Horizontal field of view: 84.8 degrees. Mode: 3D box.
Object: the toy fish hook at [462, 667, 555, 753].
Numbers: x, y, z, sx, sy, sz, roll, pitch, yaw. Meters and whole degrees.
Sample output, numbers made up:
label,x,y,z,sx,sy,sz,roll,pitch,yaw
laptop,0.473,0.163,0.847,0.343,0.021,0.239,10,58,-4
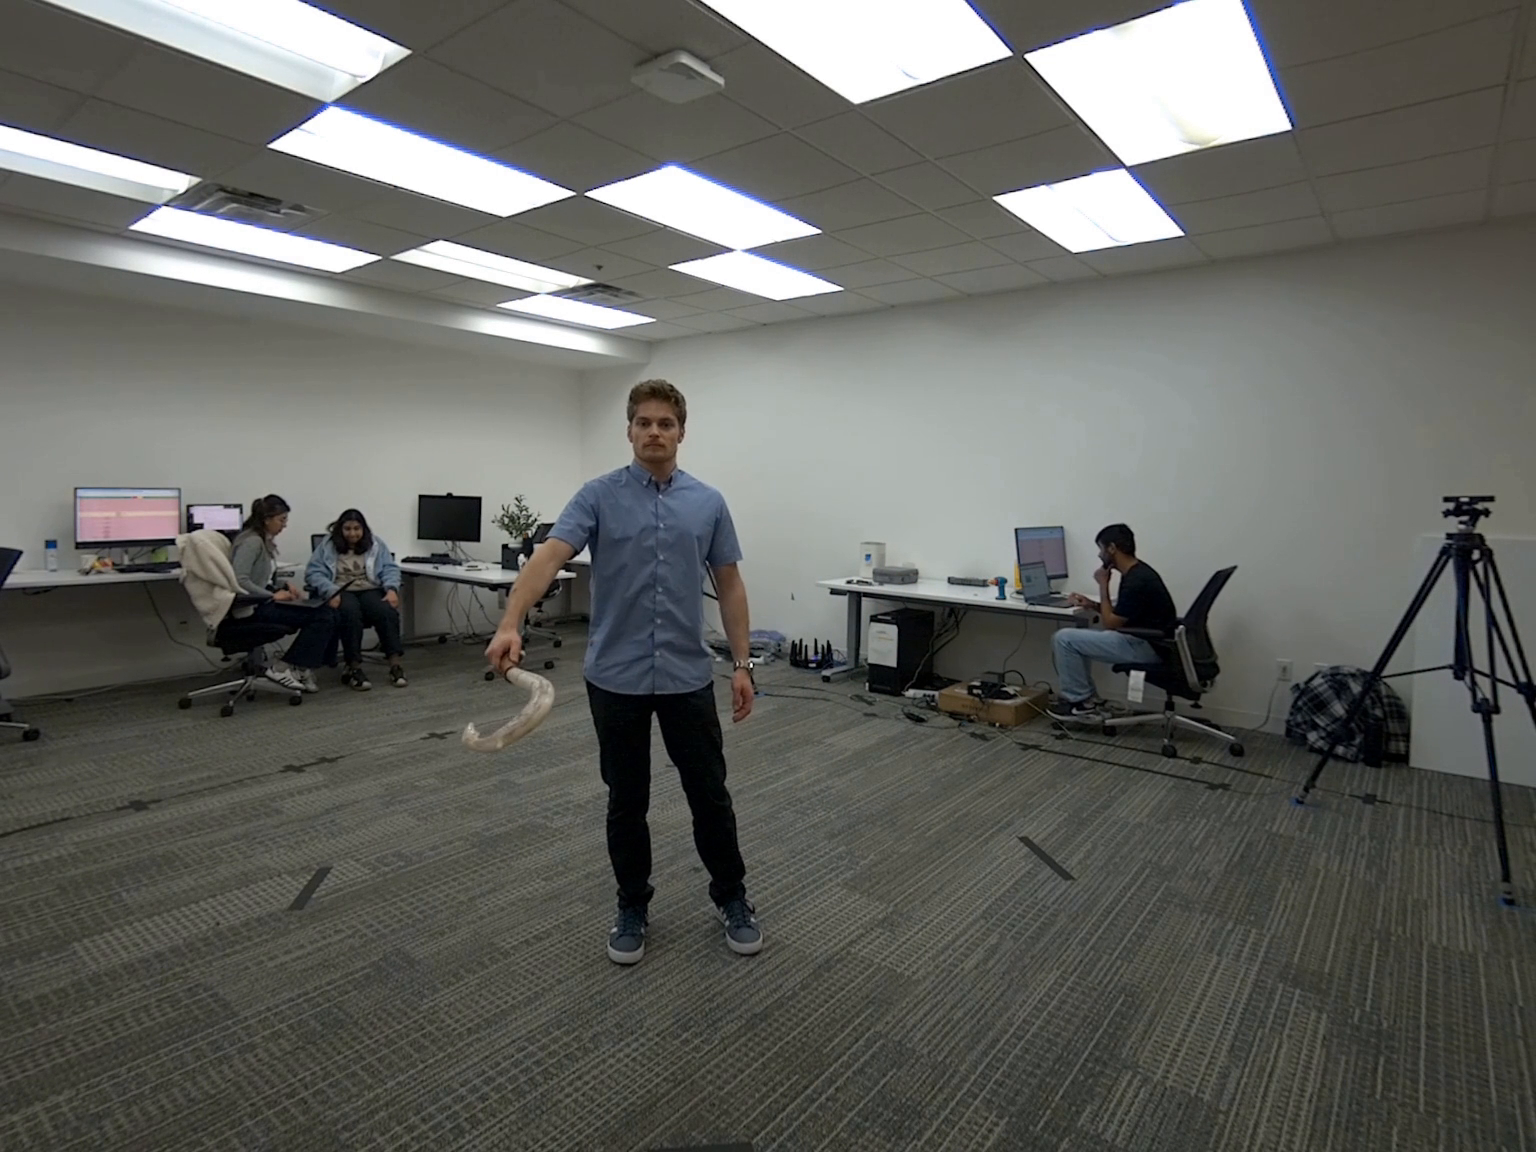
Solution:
label,x,y,z,sx,sy,sz,roll,pitch,yaw
toy fish hook,-0.612,0.253,1.966,0.223,0.047,0.521,-33,21,-13
